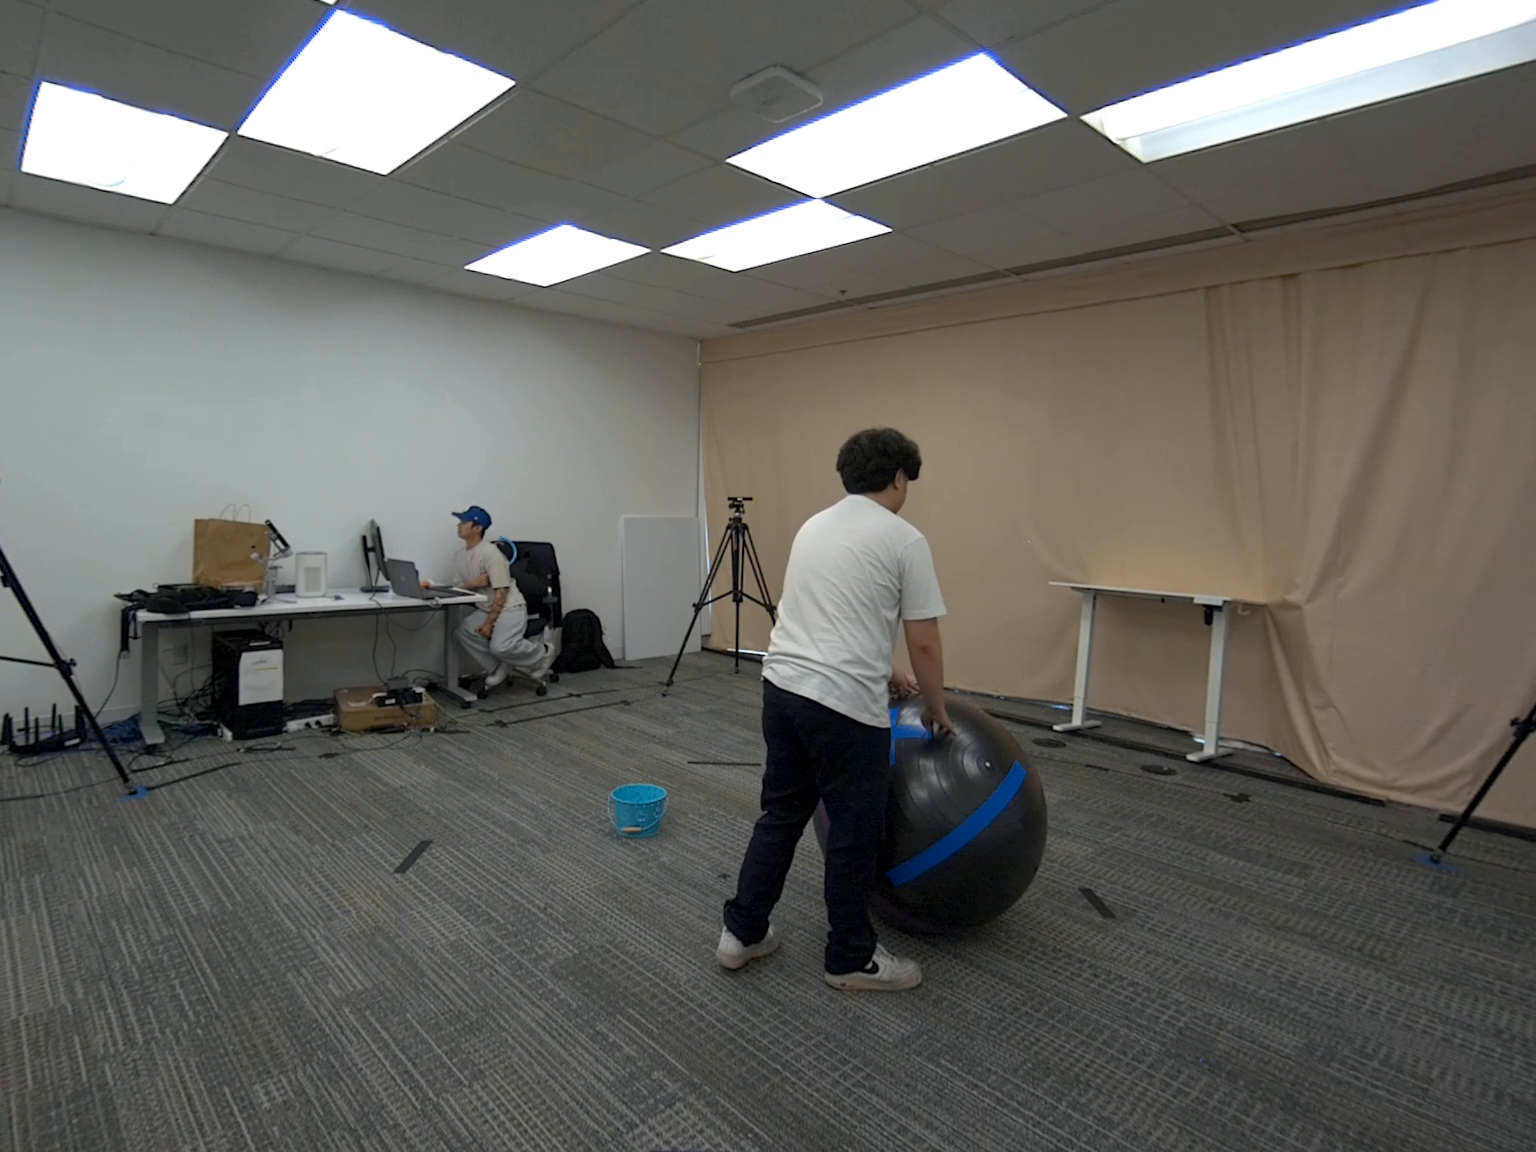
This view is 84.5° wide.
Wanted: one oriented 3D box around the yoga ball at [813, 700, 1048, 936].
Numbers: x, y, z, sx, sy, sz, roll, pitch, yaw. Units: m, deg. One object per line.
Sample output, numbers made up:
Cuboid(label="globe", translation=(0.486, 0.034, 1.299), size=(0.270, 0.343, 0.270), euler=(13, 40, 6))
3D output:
Cuboid(label="yoga ball", translation=(0.530, 0.783, 2.813), size=(0.757, 0.756, 0.761), euler=(1, 4, -1))
